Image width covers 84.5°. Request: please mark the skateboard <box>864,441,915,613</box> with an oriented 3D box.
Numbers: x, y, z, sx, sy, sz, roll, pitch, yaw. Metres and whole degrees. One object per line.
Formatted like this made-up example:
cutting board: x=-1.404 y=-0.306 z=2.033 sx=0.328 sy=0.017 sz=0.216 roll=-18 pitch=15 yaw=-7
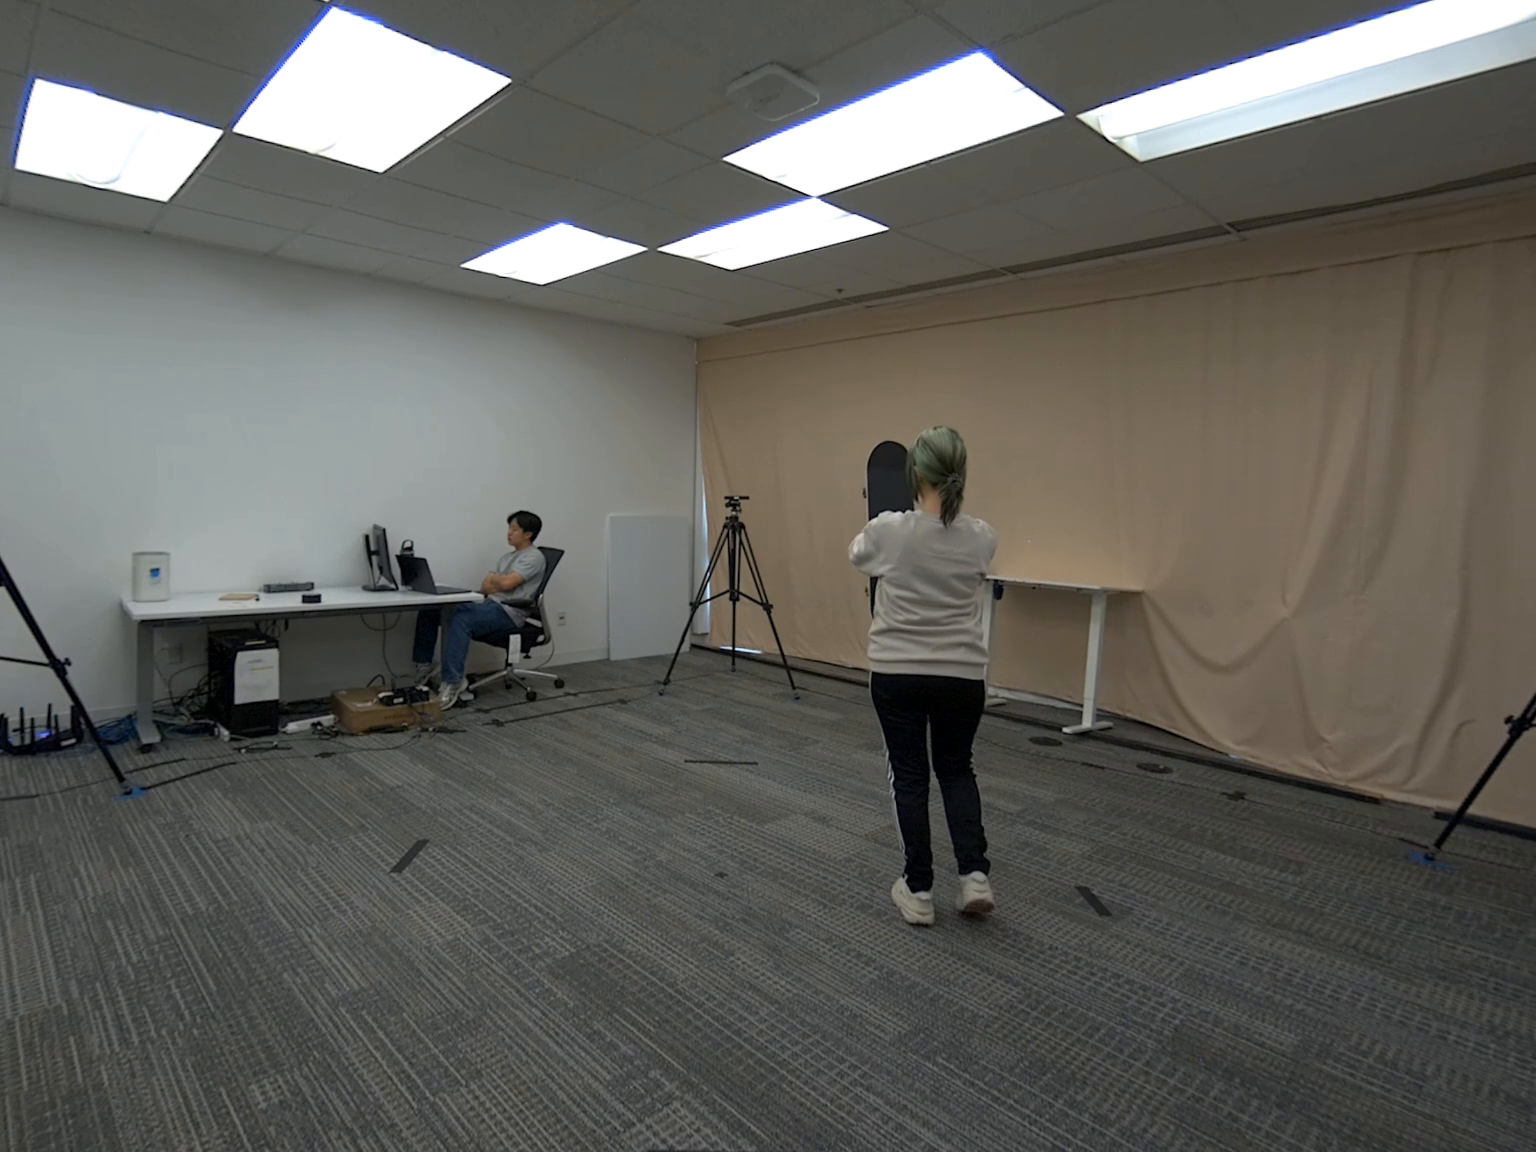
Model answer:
skateboard: x=0.482 y=-0.142 z=3.352 sx=0.192 sy=0.789 sz=0.110 roll=2 pitch=-7 yaw=-6
